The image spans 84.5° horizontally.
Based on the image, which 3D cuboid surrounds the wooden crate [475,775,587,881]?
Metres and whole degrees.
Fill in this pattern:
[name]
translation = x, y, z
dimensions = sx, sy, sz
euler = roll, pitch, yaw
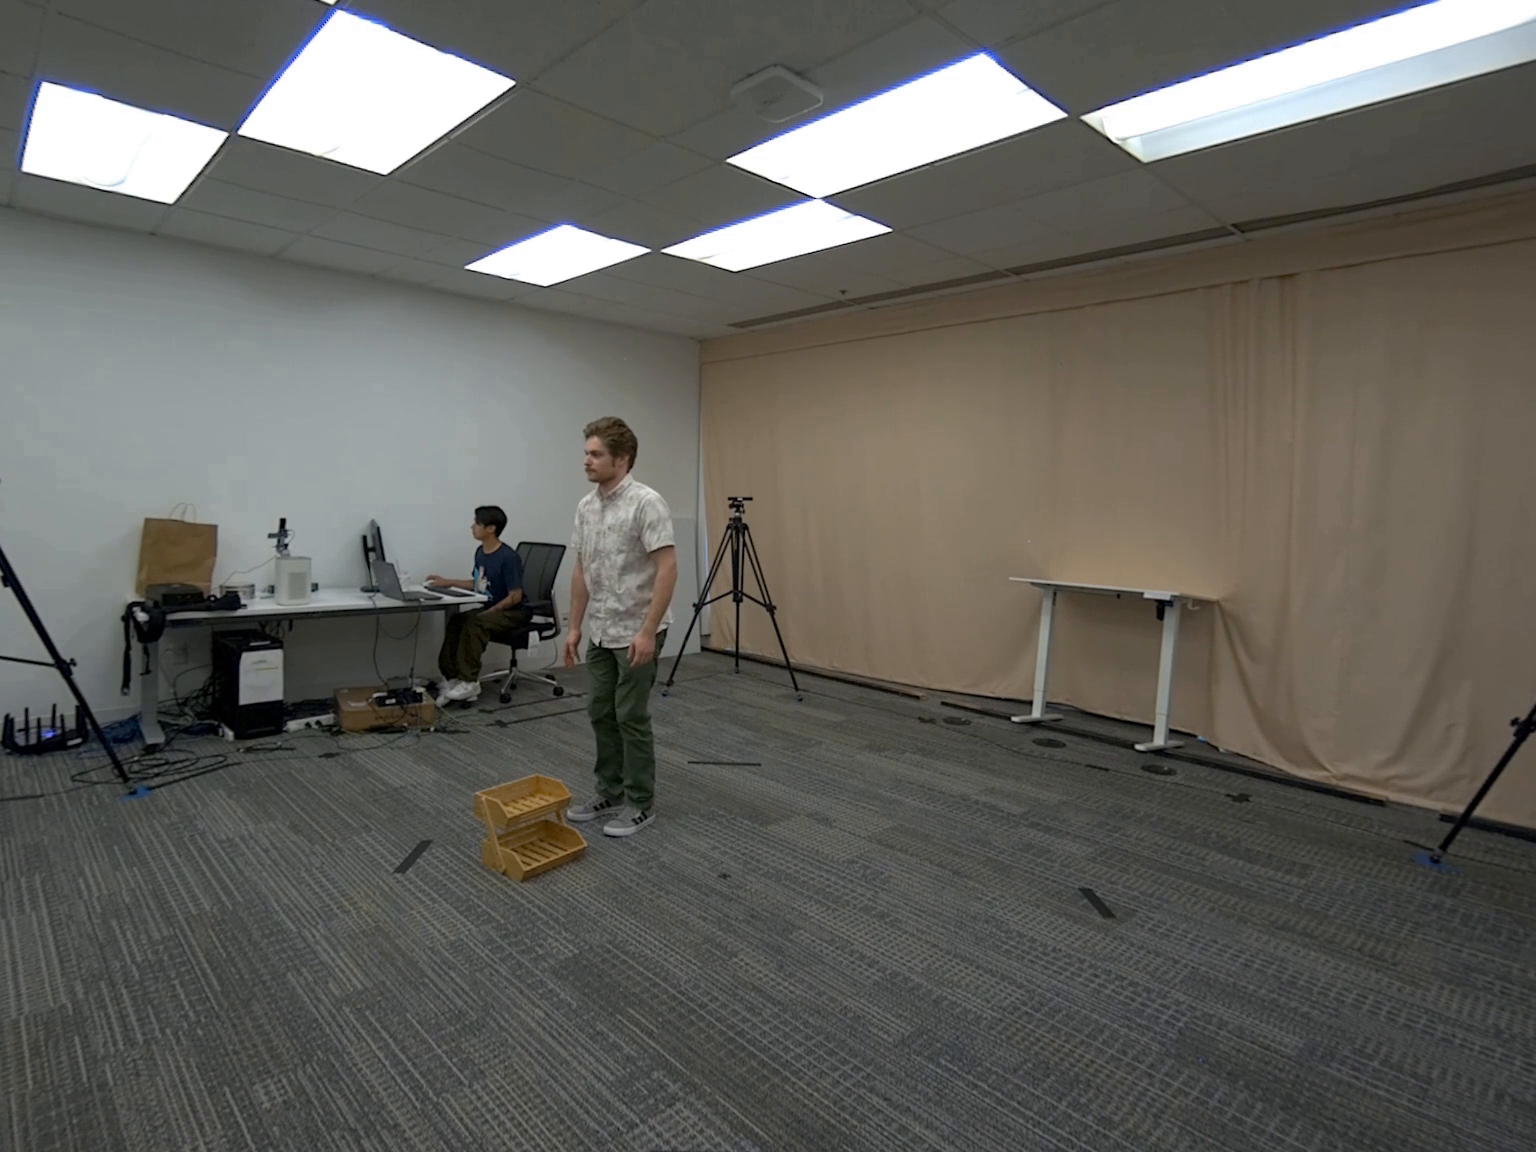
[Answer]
[wooden crate]
translation = -0.910, 0.948, 3.206
dimensions = 0.309, 0.272, 0.317
euler = 4, 5, 37
